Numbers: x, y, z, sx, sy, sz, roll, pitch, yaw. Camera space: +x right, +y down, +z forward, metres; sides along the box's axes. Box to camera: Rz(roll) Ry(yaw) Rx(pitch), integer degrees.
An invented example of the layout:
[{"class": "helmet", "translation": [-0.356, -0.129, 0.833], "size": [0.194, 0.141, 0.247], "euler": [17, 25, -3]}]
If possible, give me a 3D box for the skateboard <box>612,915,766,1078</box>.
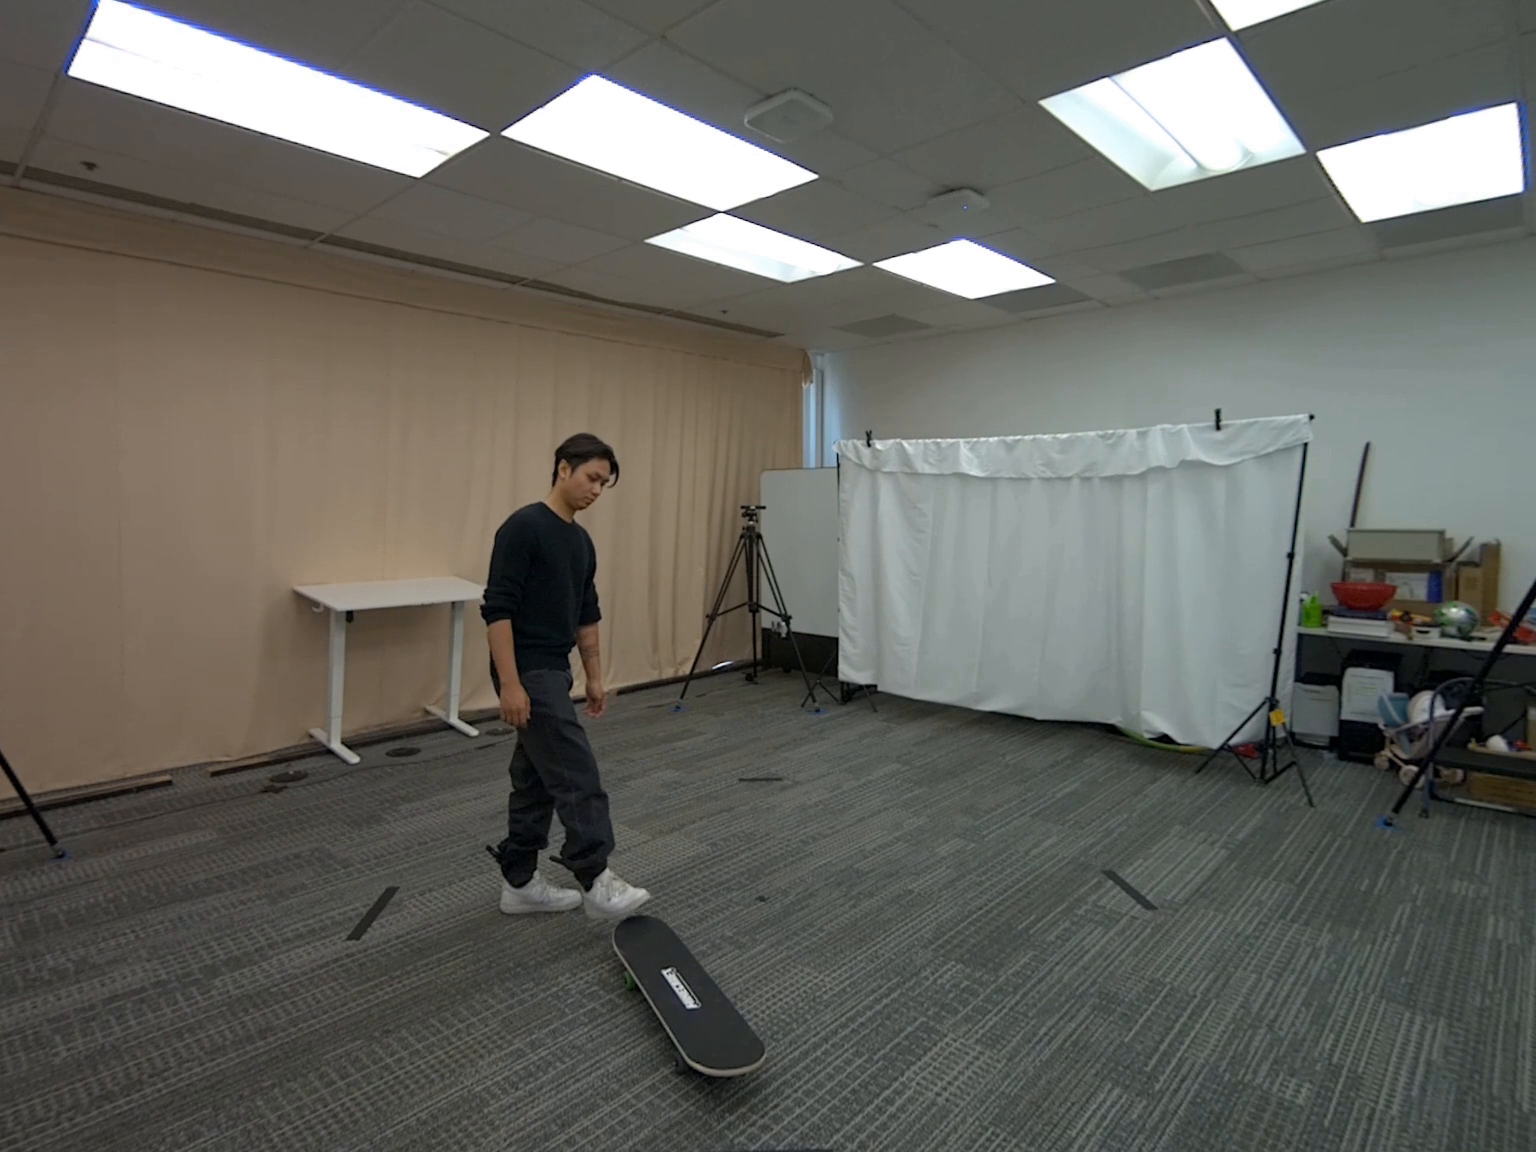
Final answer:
[{"class": "skateboard", "translation": [-0.232, 1.144, 2.285], "size": [0.189, 0.110, 0.807], "euler": [-2, 5, -27]}]
